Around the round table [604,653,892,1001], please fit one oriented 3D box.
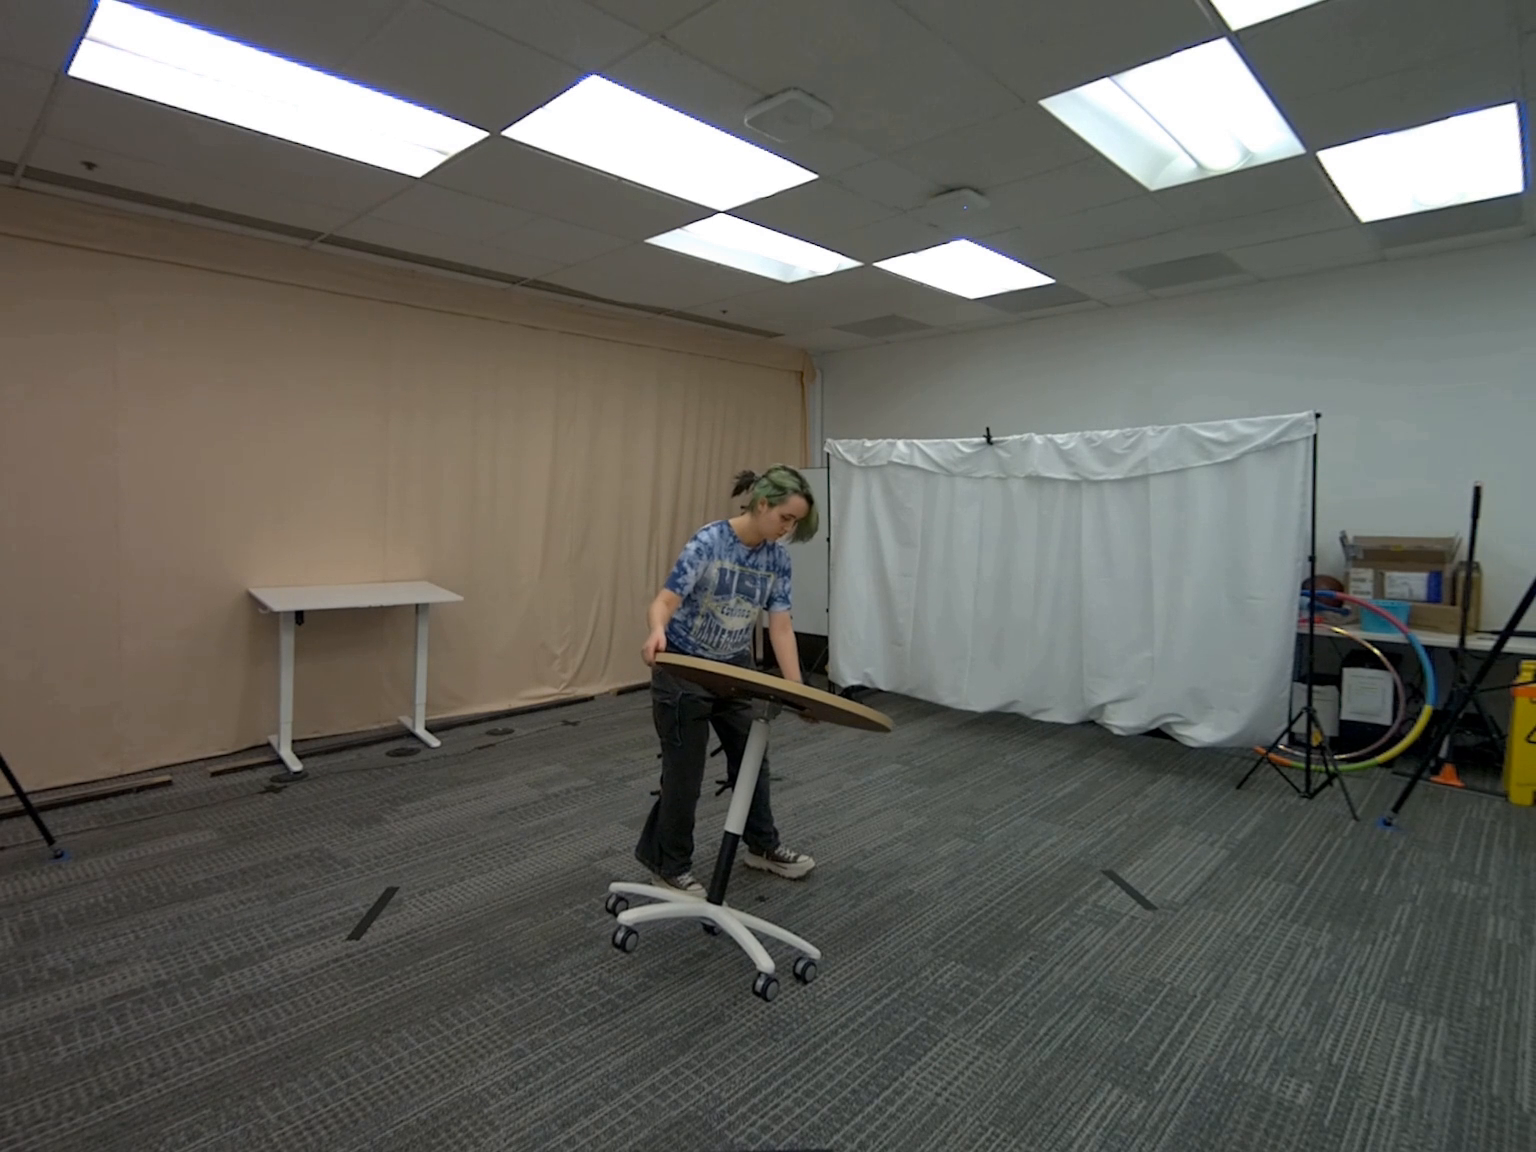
[{"bbox_3d":[-0.085,0.729,2.525,0.767,0.797,0.759,15,-12,2],"label":"round table"}]
